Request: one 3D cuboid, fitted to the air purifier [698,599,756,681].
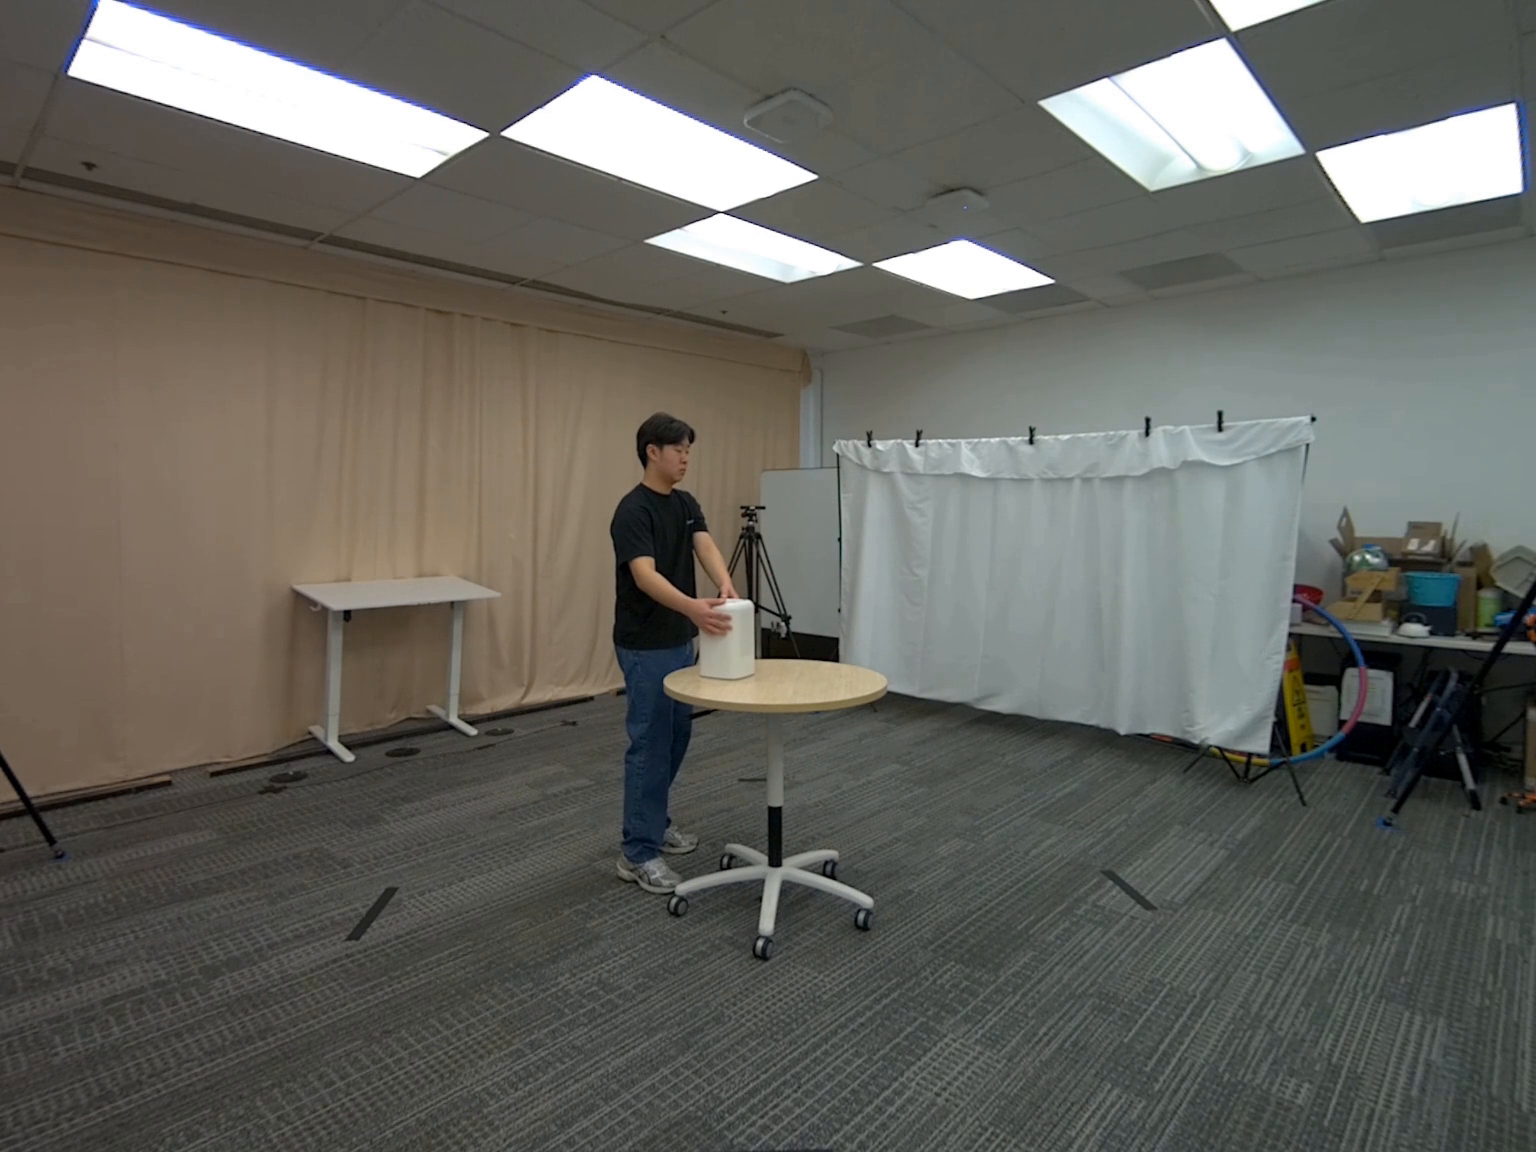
[{"bbox_3d":[-0.138,0.220,2.974,0.176,0.265,0.167,1,3,32],"label":"air purifier"}]
